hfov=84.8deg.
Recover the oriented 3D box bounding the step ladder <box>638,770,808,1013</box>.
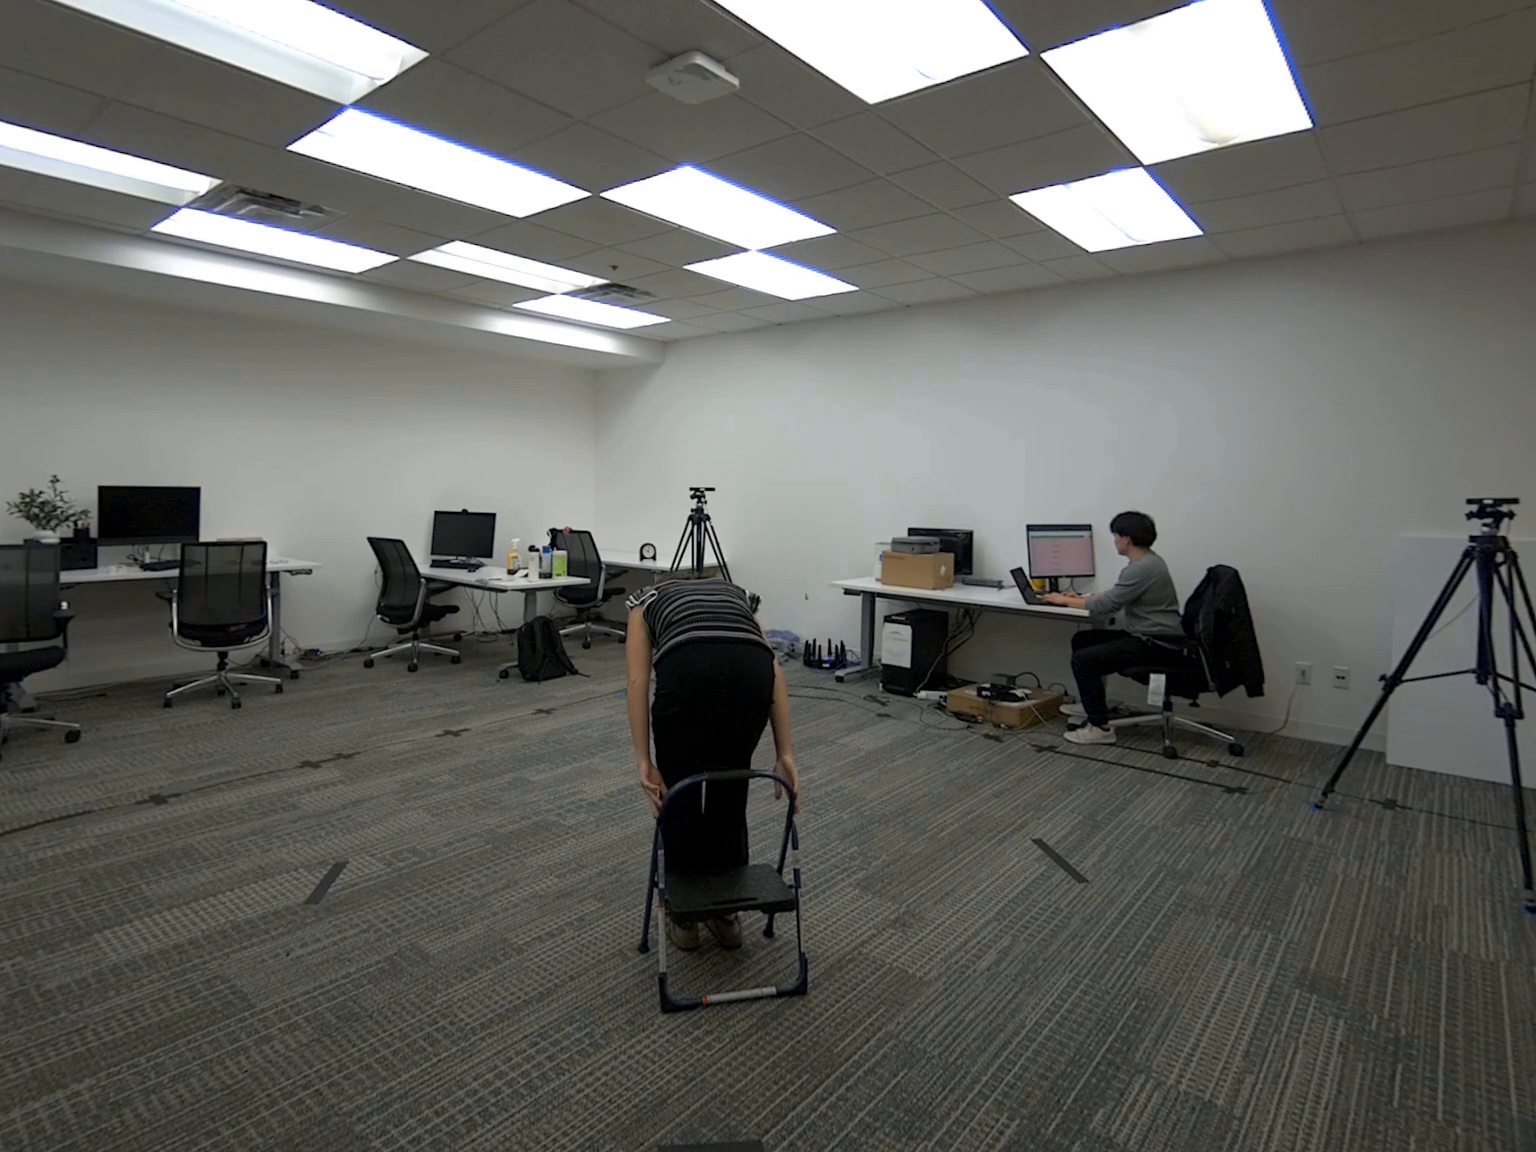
[{"bbox_3d":[-0.139,0.837,2.437,0.423,0.605,0.356,0,3,-17],"label":"step ladder"}]
